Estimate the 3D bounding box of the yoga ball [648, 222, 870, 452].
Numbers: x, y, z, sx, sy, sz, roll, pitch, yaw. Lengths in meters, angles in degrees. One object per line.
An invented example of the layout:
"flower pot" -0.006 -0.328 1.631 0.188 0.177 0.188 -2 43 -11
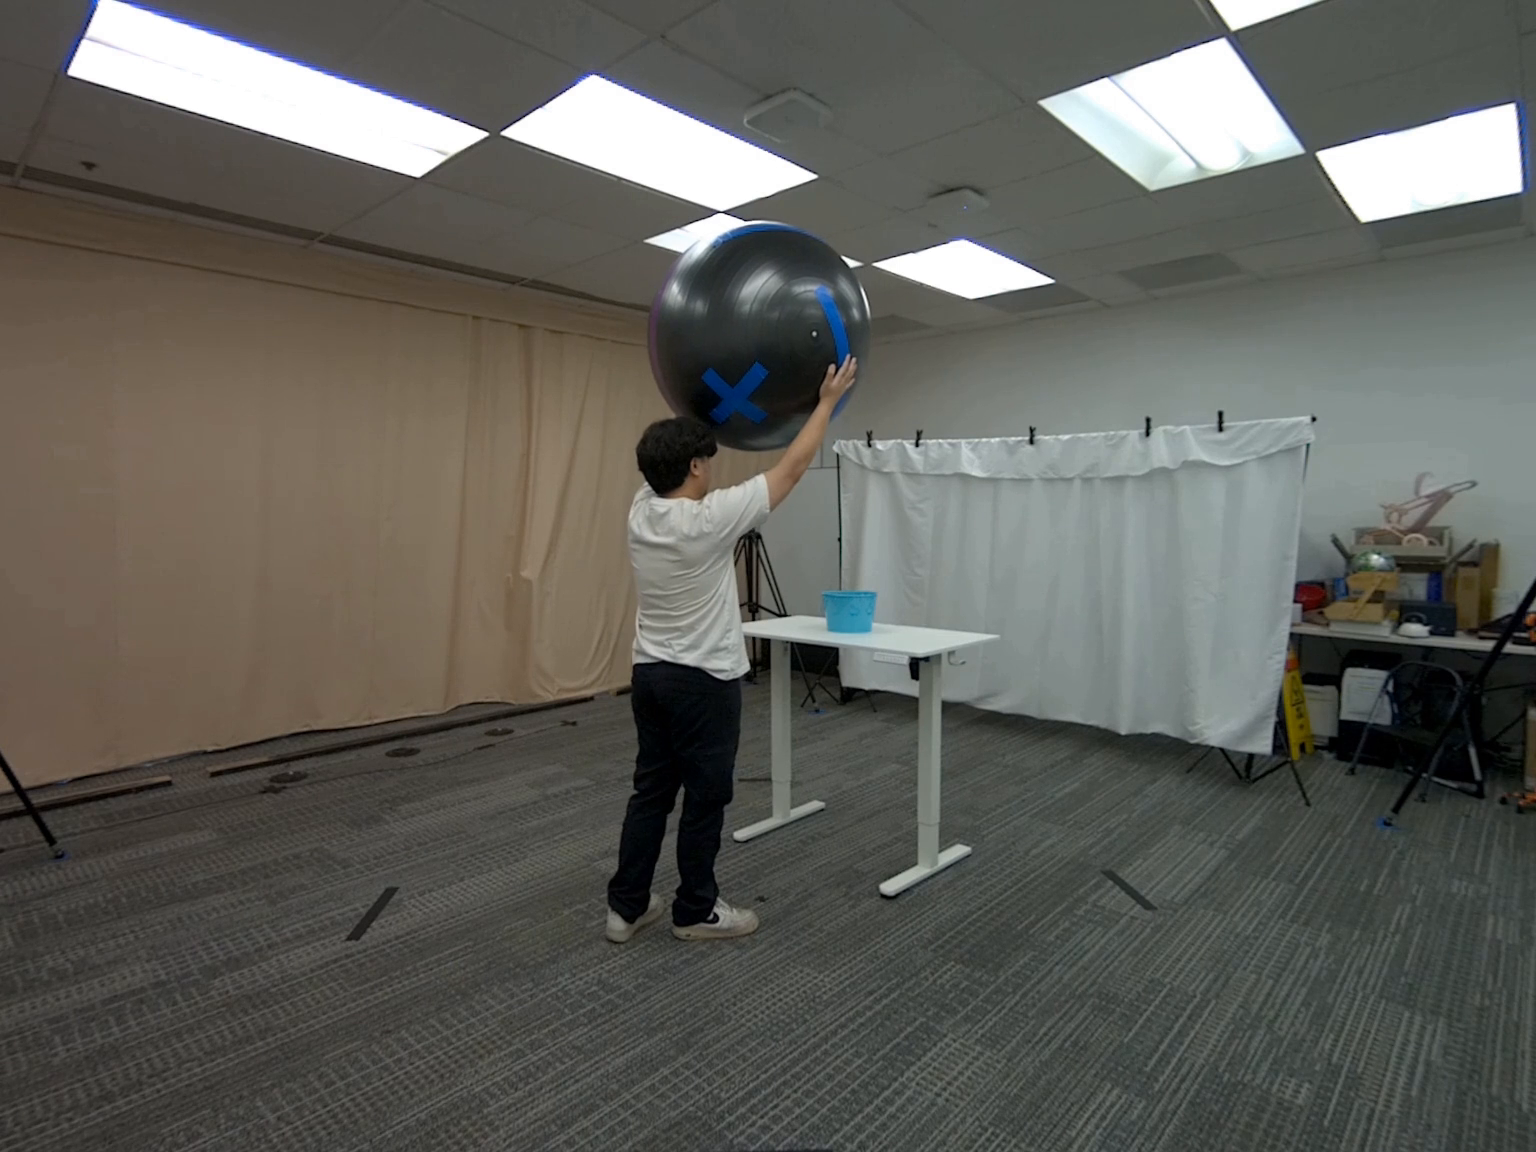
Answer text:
"yoga ball" -0.029 -0.801 2.875 0.757 0.756 0.760 0 4 -2
